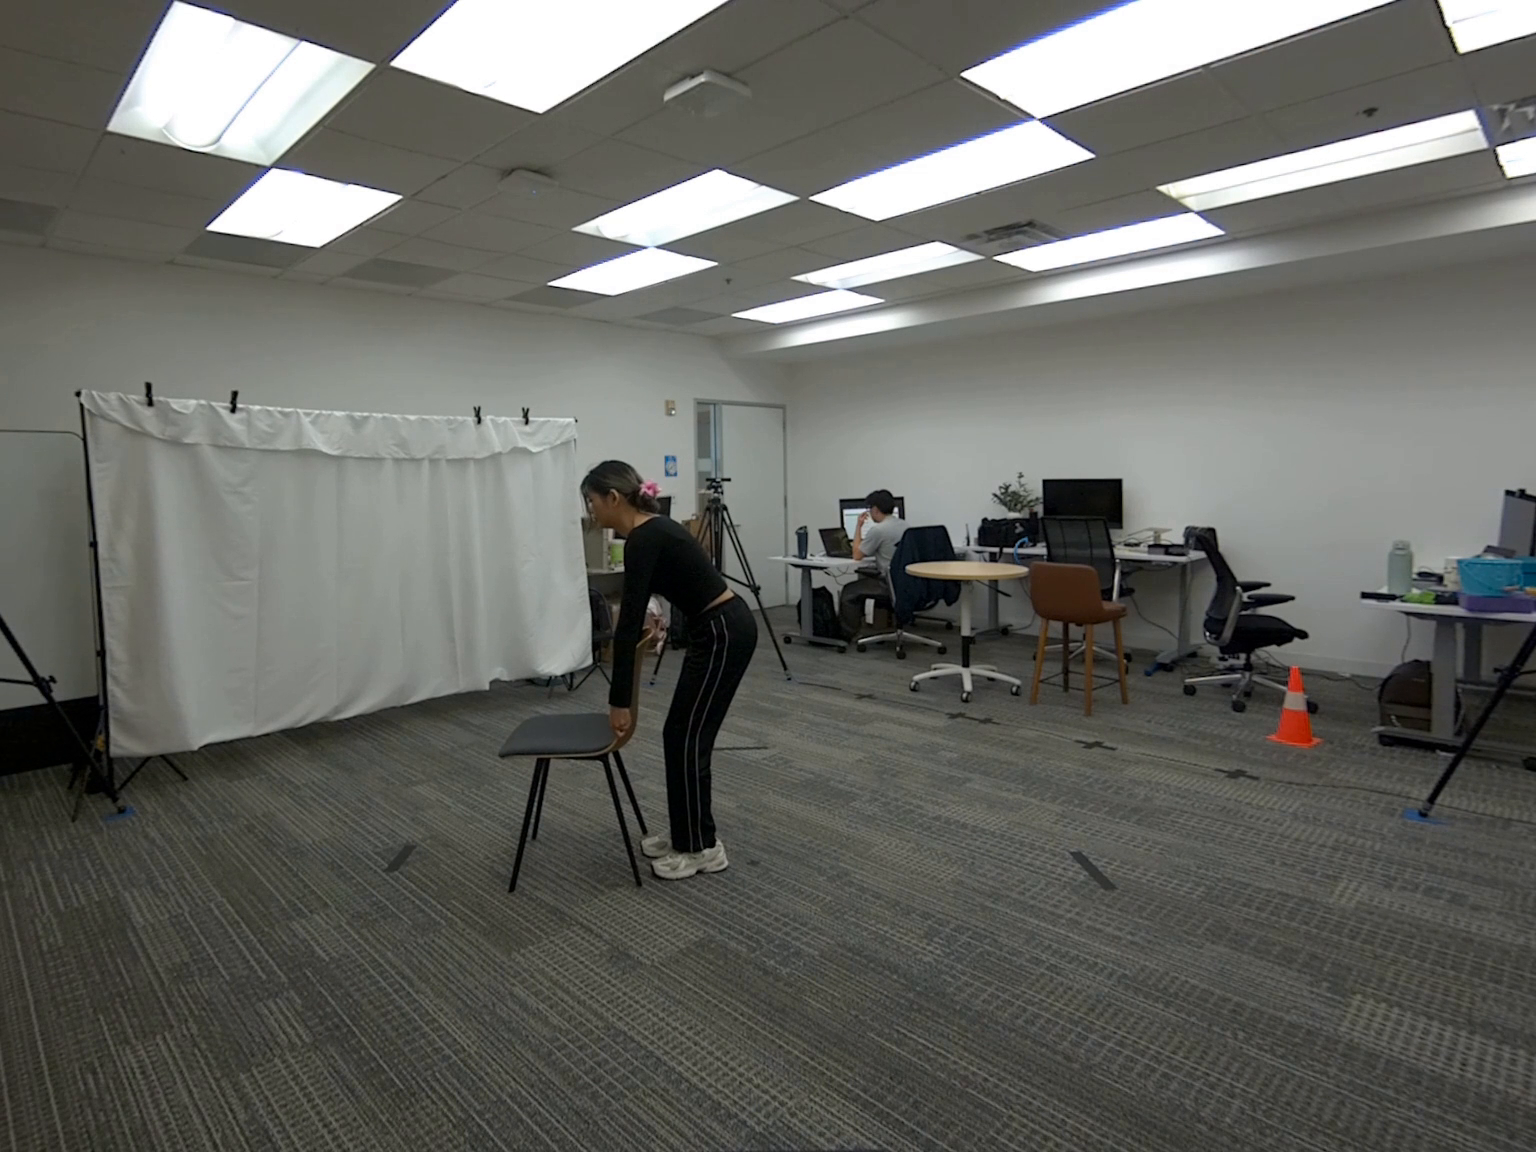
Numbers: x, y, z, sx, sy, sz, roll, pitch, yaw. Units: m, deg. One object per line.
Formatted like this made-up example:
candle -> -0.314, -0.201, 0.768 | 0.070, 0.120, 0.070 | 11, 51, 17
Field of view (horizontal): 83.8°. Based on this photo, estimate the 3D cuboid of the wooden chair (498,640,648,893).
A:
wooden chair -> -0.696, 0.625, 3.106 | 0.521, 0.874, 0.482 | 2, 5, -4
